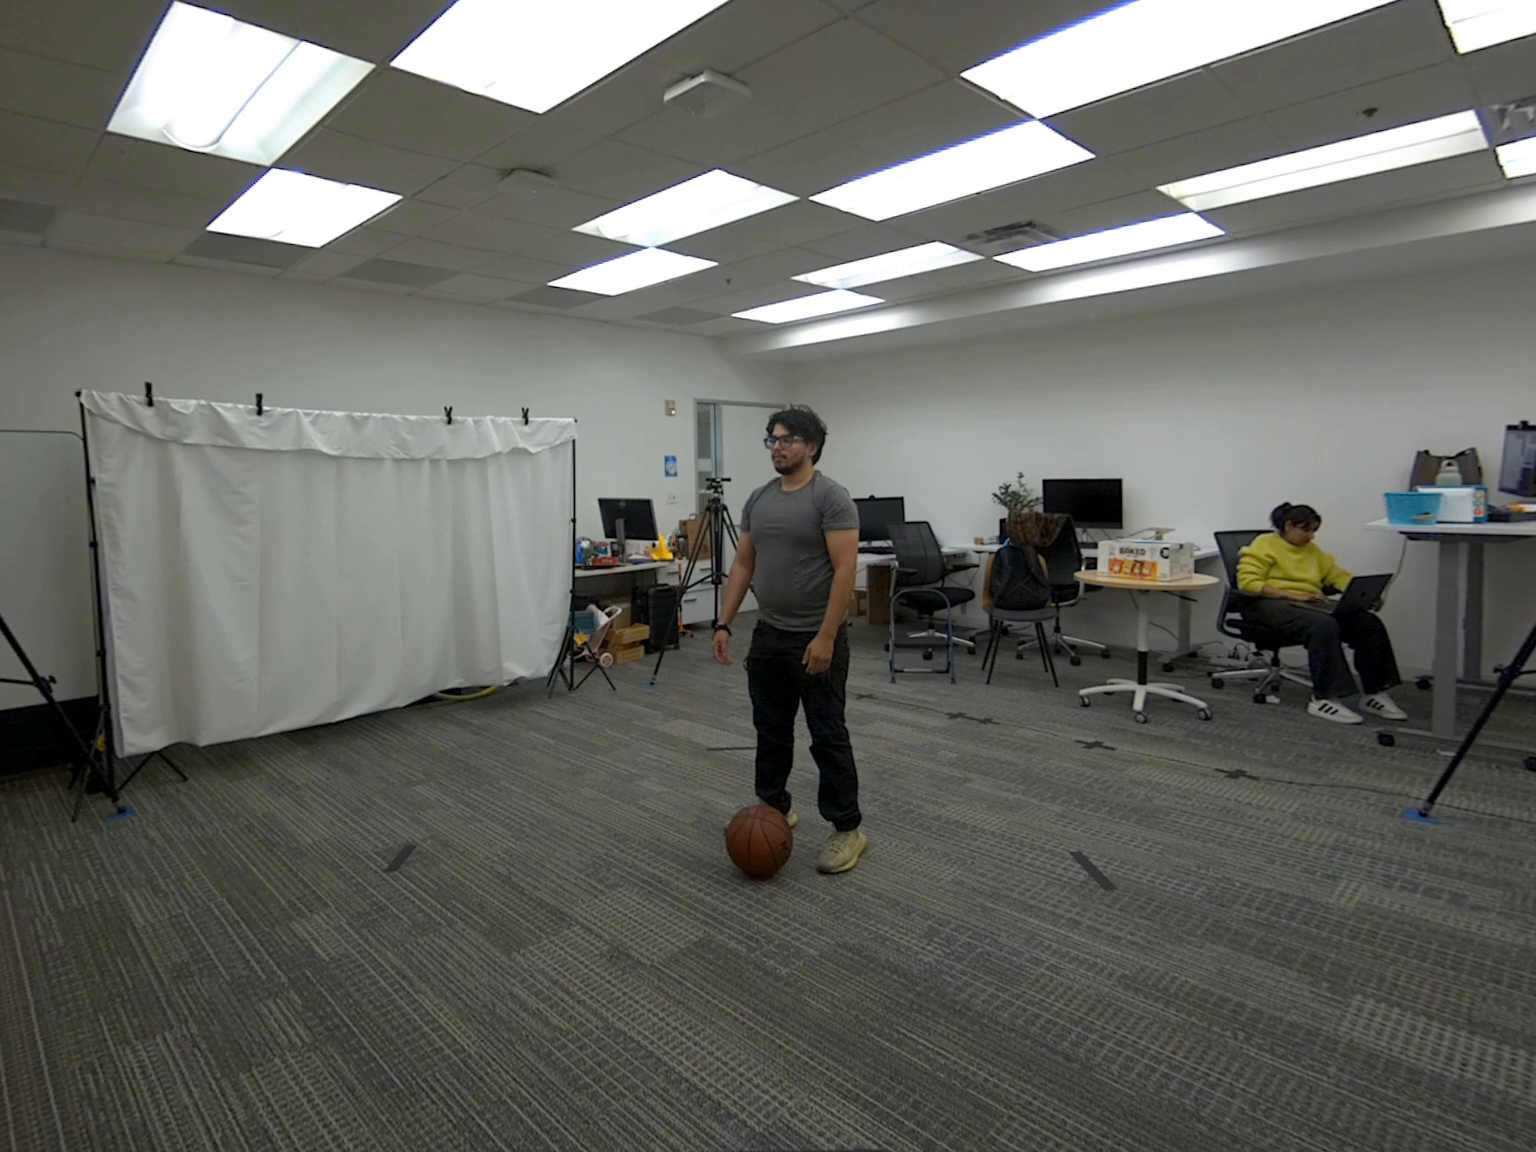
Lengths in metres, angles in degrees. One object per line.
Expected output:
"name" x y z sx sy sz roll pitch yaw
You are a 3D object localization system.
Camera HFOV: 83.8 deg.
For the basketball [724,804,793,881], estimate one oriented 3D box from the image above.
"basketball" -0.030 0.929 3.026 0.236 0.235 0.237 -1 5 -2
